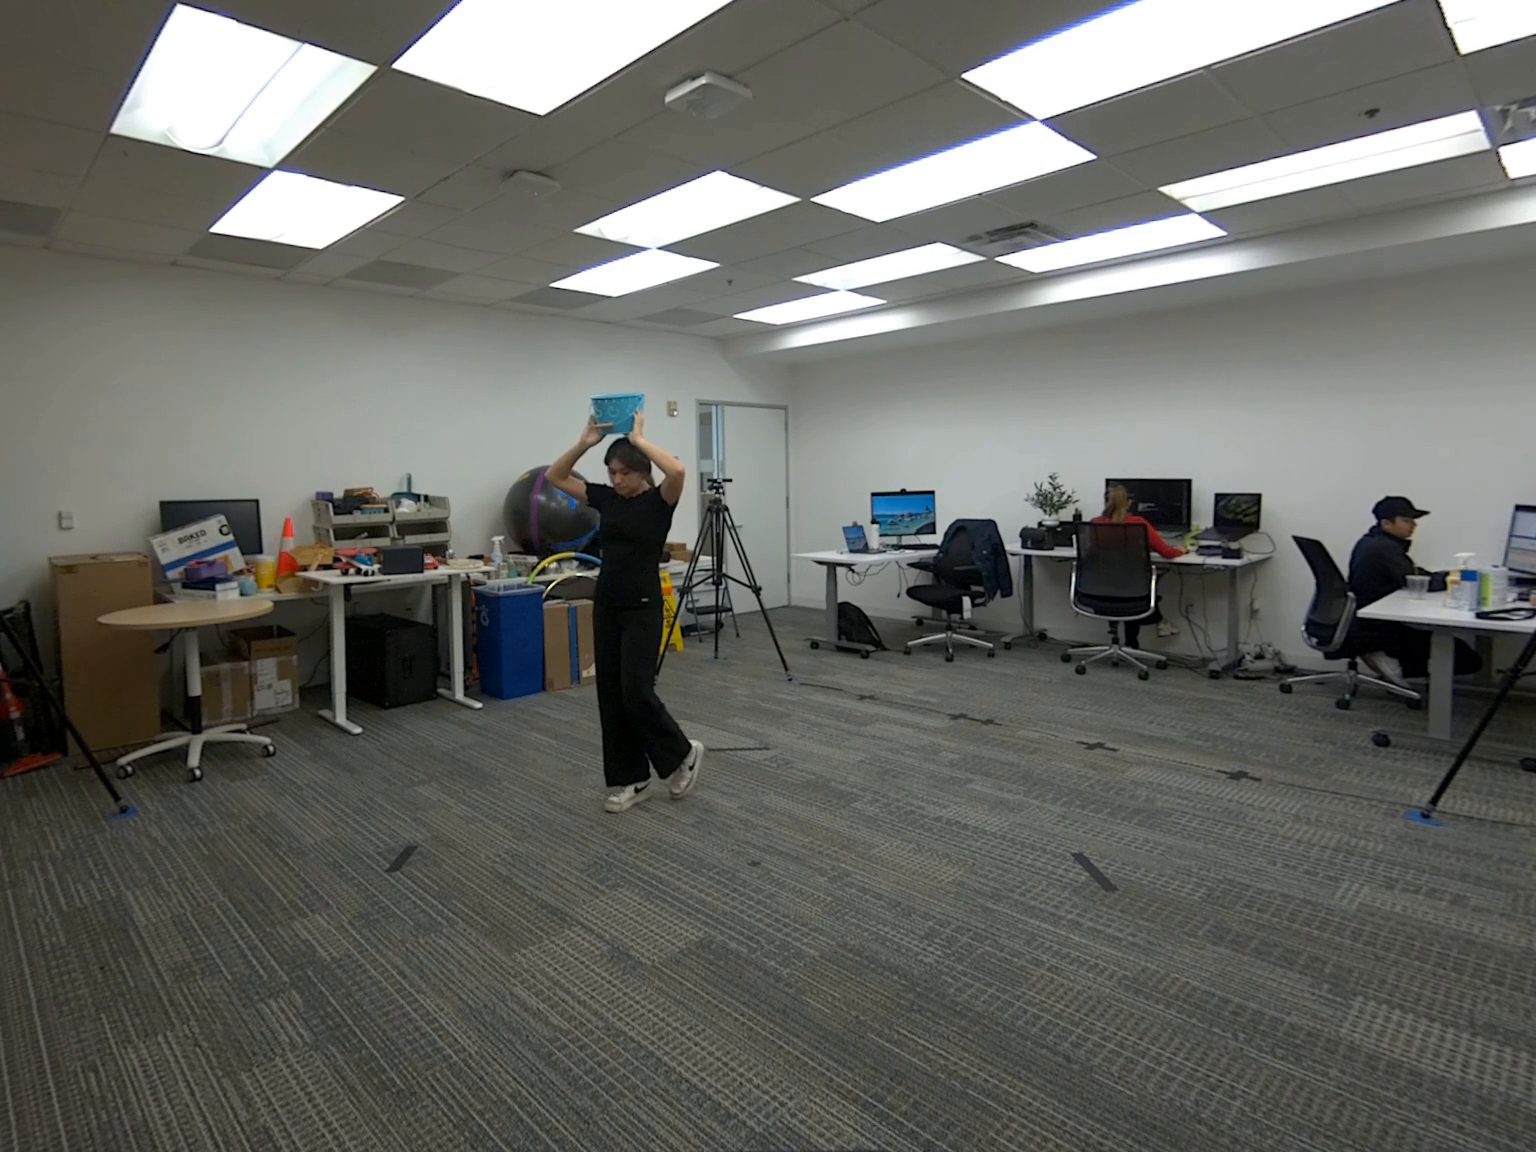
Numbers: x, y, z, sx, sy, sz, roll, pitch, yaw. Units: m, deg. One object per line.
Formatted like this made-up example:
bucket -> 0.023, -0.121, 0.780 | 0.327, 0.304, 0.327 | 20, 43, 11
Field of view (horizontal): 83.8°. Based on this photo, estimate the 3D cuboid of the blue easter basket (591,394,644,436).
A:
blue easter basket -> -0.637, -0.675, 3.558 | 0.243, 0.154, 0.246 | -3, 13, -1
